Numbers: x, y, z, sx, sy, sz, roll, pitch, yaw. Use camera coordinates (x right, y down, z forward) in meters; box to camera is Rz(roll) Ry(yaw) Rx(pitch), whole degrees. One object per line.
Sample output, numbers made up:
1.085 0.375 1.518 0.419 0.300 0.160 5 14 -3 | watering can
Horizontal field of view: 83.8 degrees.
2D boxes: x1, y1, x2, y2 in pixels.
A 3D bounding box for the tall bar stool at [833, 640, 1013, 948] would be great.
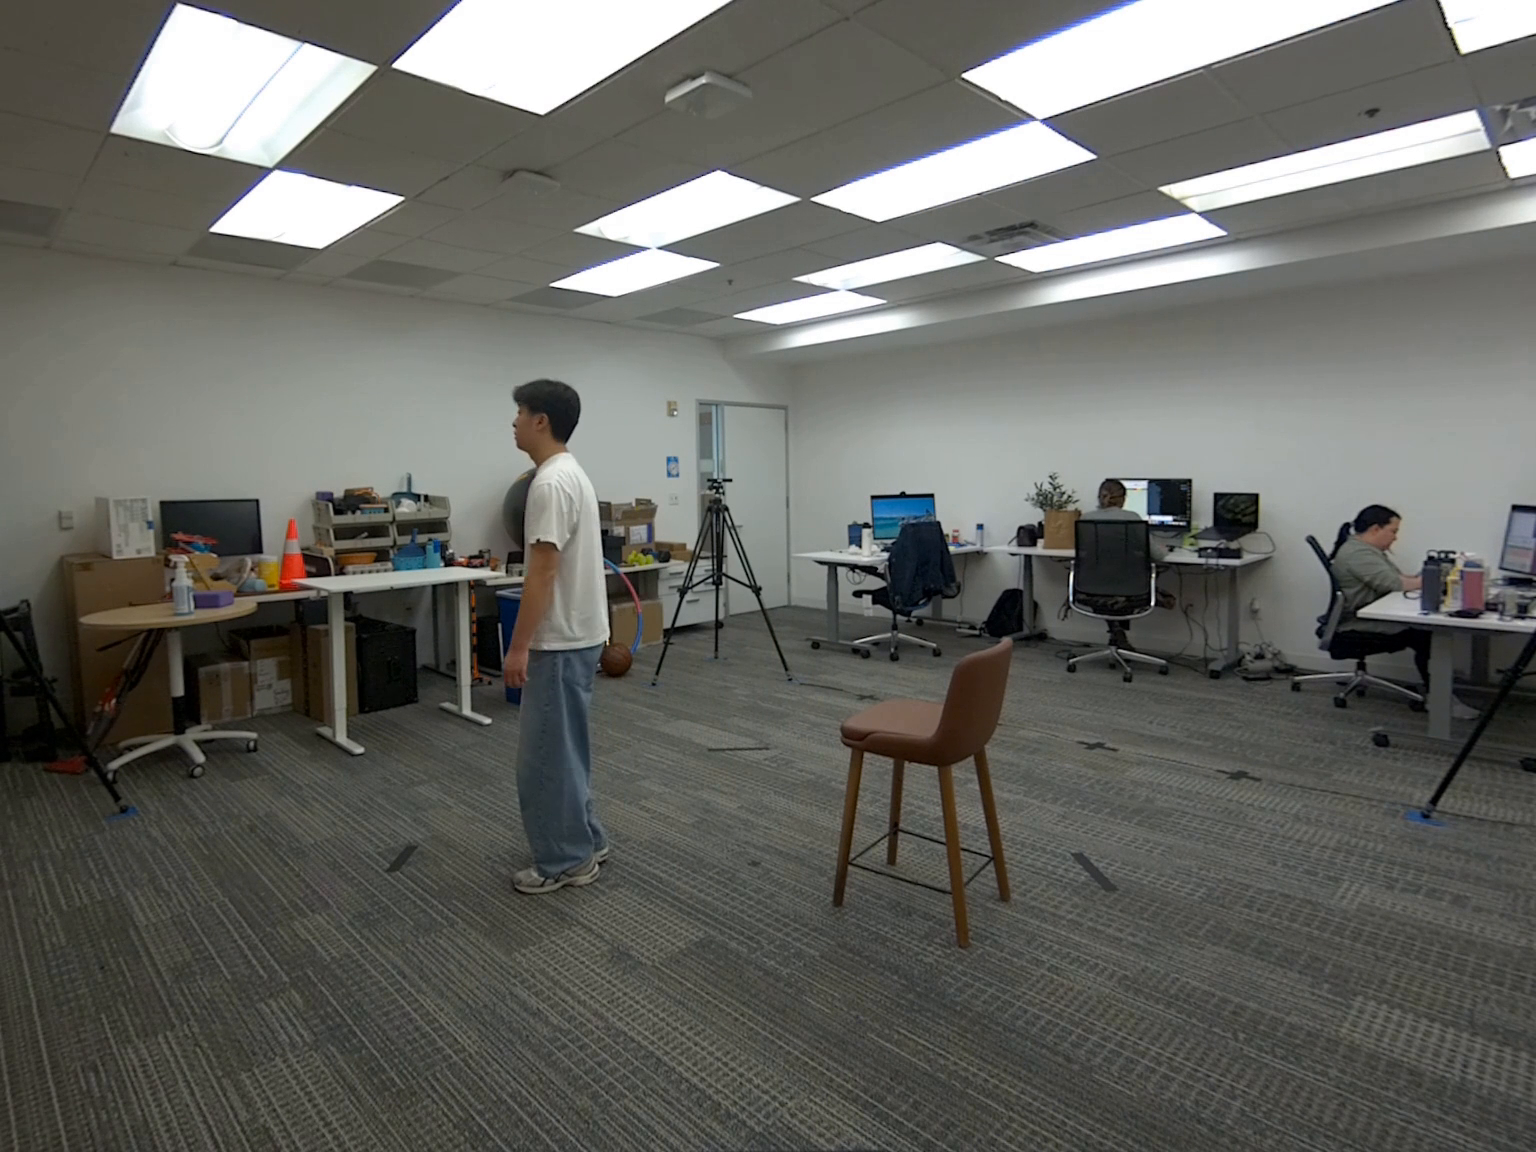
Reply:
0.508 0.637 2.773 0.482 0.885 0.445 5 8 37 | tall bar stool
